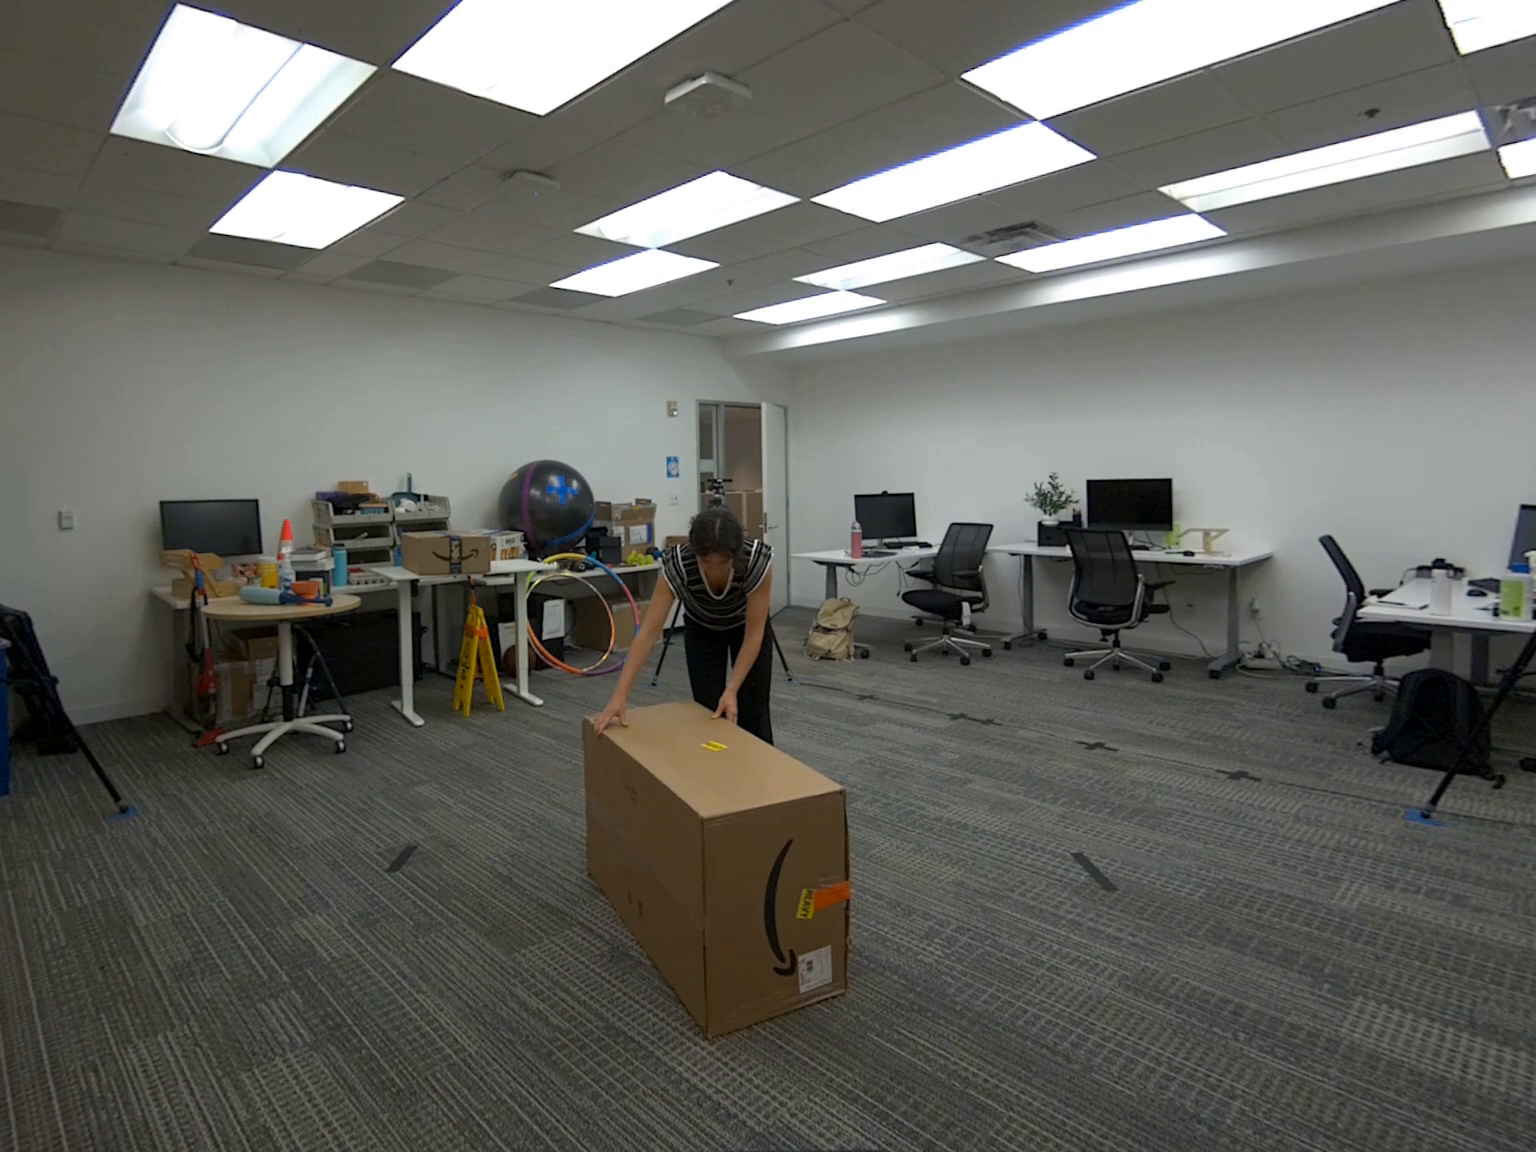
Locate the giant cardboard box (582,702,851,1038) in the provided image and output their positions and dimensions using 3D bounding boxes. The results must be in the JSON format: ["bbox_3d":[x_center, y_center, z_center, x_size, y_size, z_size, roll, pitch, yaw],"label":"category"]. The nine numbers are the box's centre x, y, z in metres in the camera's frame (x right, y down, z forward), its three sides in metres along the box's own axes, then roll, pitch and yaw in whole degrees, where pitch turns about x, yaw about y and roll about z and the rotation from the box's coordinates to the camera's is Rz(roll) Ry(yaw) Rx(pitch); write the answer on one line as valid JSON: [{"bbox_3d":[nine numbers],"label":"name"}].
[{"bbox_3d":[-0.216,0.810,2.661,0.417,0.575,1.053,-3,6,-28],"label":"giant cardboard box"}]
